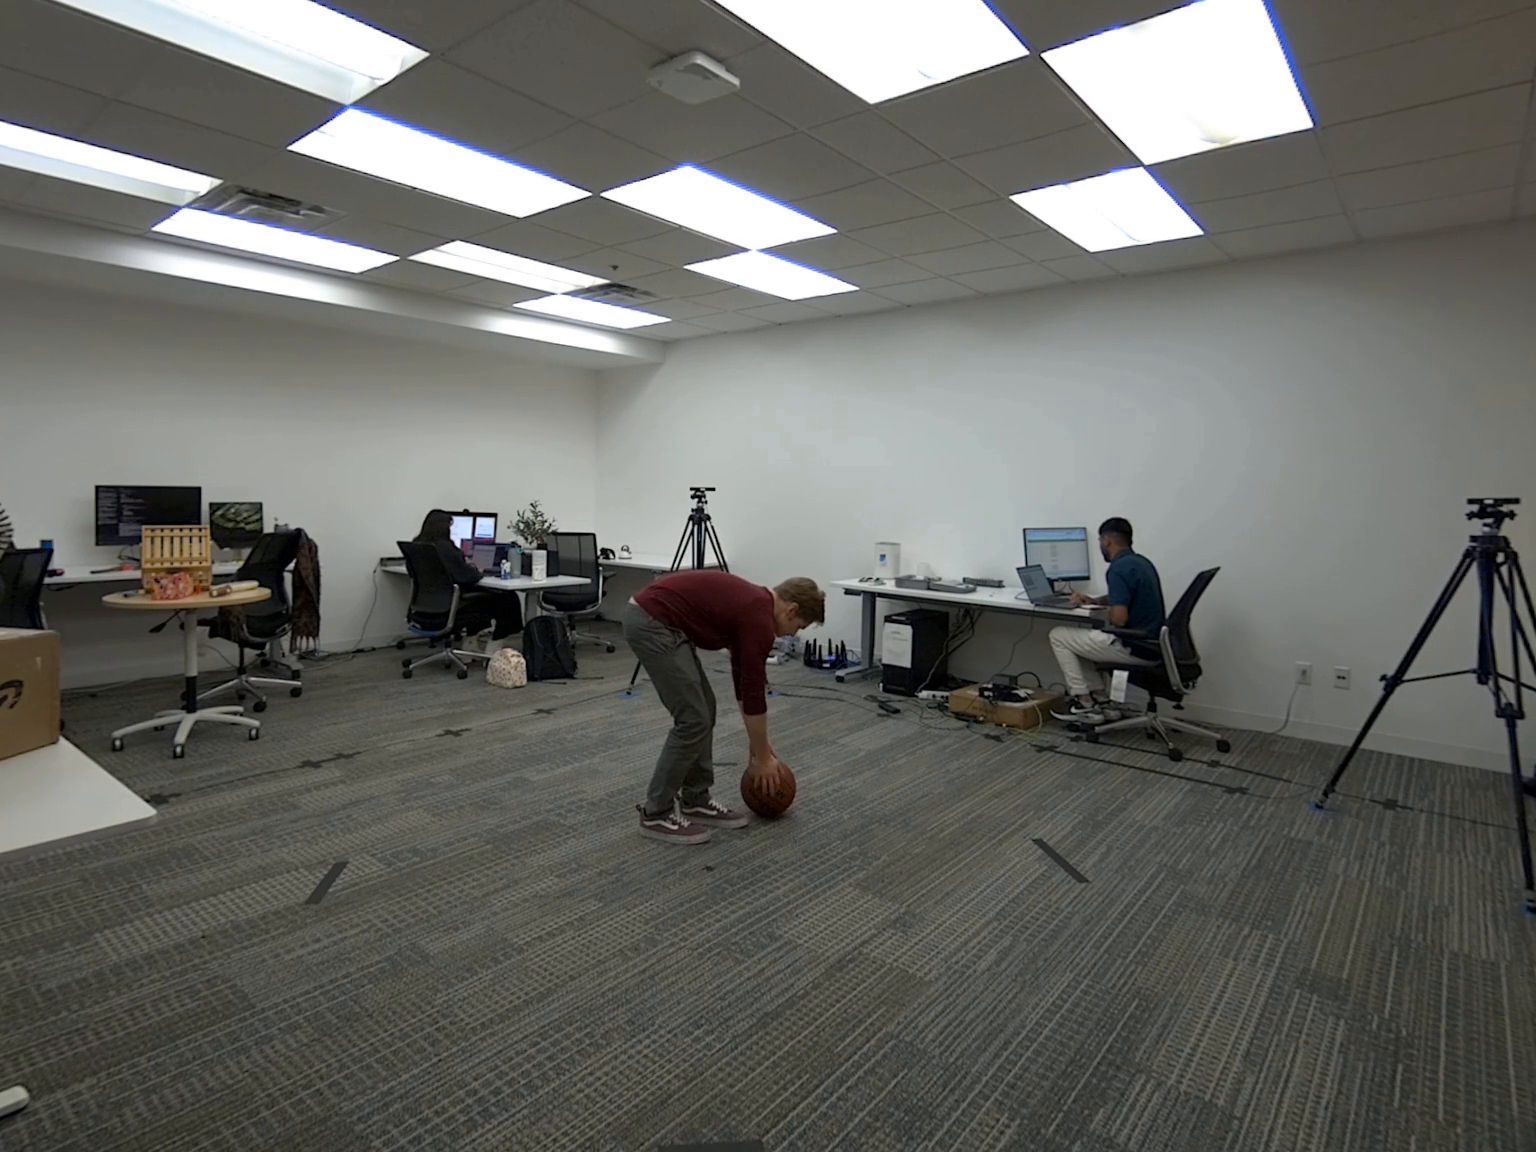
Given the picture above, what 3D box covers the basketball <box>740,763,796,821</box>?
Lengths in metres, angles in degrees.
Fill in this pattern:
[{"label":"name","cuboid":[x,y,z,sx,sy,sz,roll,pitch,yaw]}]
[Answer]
[{"label":"basketball","cuboid":[-0.006,0.892,3.636,0.235,0.235,0.237,1,4,-2]}]
